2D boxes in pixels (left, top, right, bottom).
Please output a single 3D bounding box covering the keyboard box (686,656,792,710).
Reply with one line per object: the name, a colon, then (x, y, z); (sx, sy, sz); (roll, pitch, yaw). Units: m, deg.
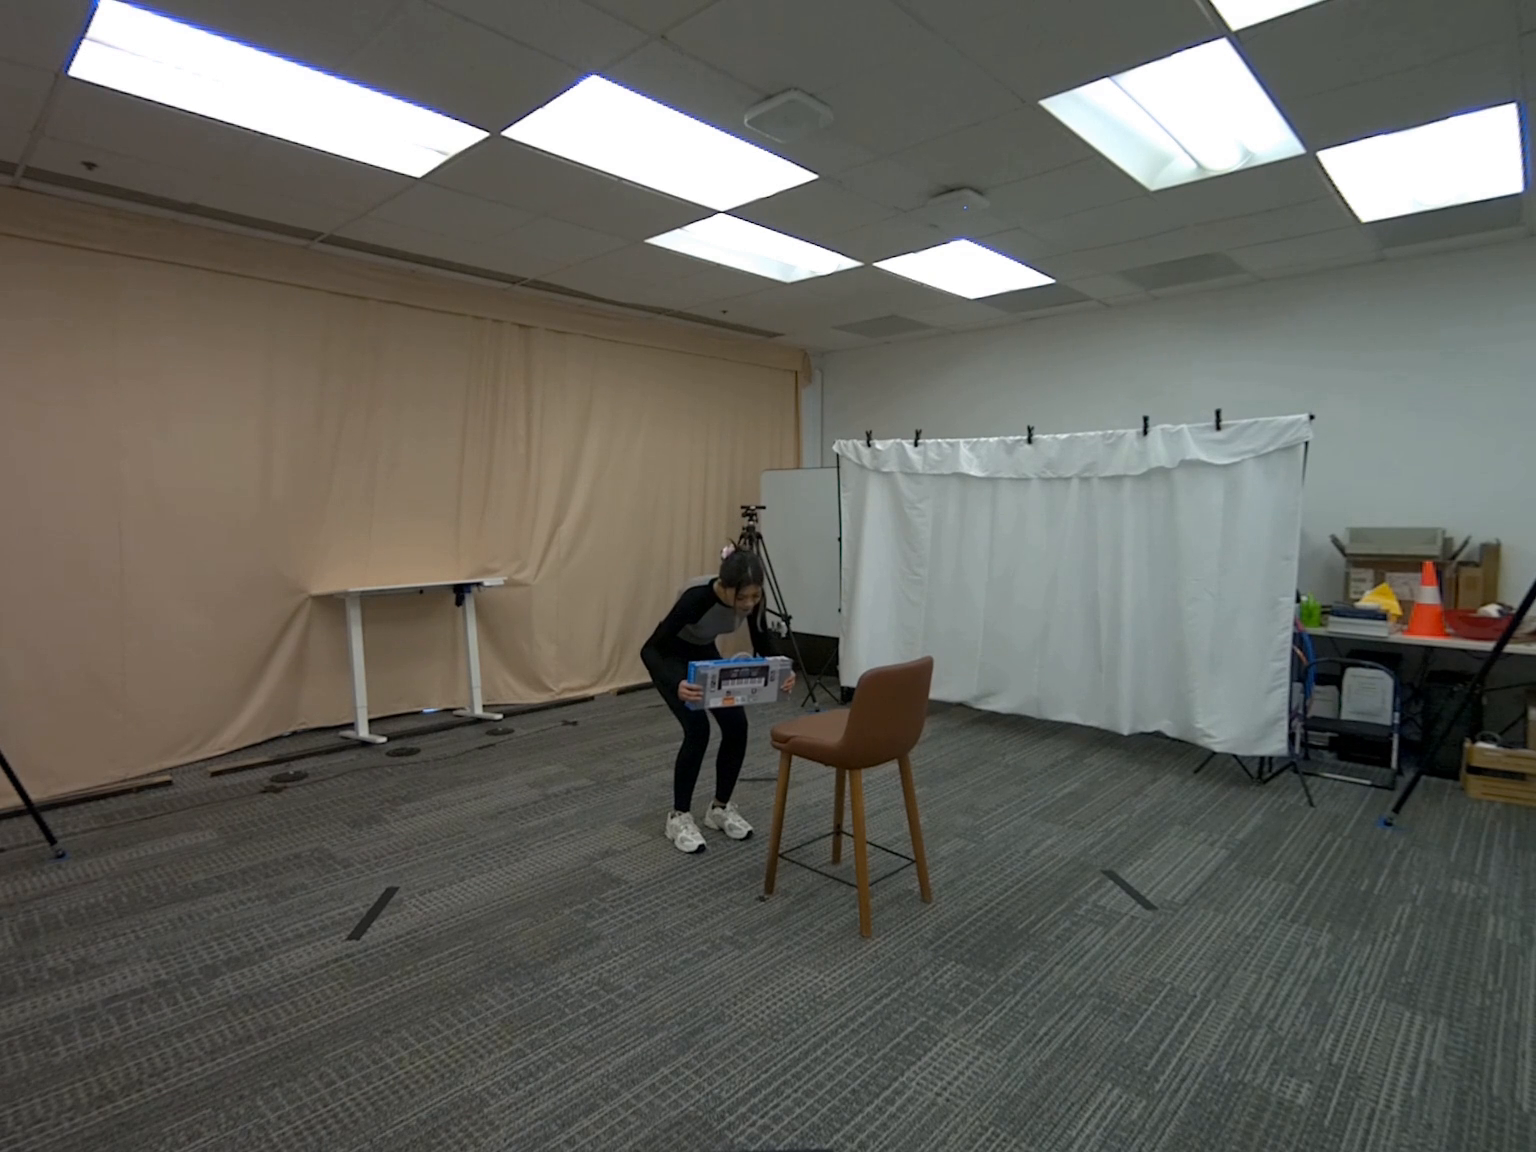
keyboard box: (-0.108, 0.413, 3.256); (0.425, 0.175, 0.061); (1, 11, -30)
